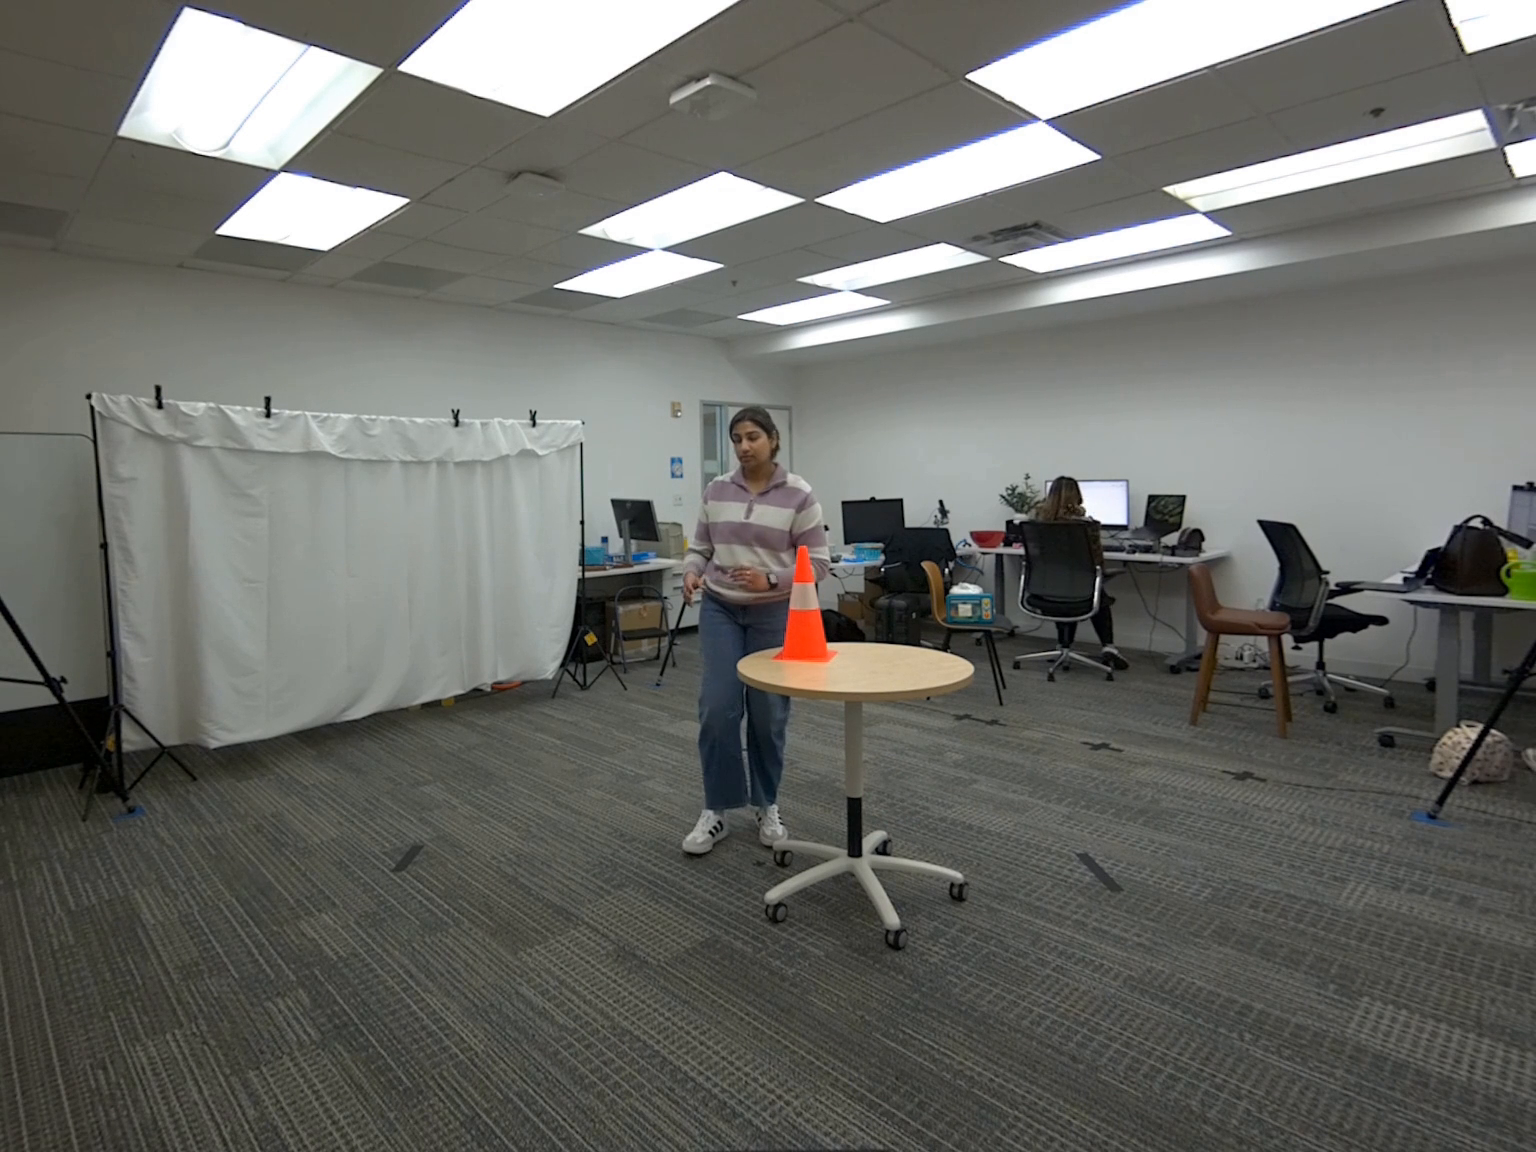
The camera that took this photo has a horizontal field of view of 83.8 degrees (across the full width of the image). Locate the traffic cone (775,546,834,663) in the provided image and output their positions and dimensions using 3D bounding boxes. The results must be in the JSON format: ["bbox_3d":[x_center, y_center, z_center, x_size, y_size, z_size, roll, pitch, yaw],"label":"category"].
[{"bbox_3d":[0.121,0.090,2.964,0.207,0.383,0.202,-1,2,18],"label":"traffic cone"}]
